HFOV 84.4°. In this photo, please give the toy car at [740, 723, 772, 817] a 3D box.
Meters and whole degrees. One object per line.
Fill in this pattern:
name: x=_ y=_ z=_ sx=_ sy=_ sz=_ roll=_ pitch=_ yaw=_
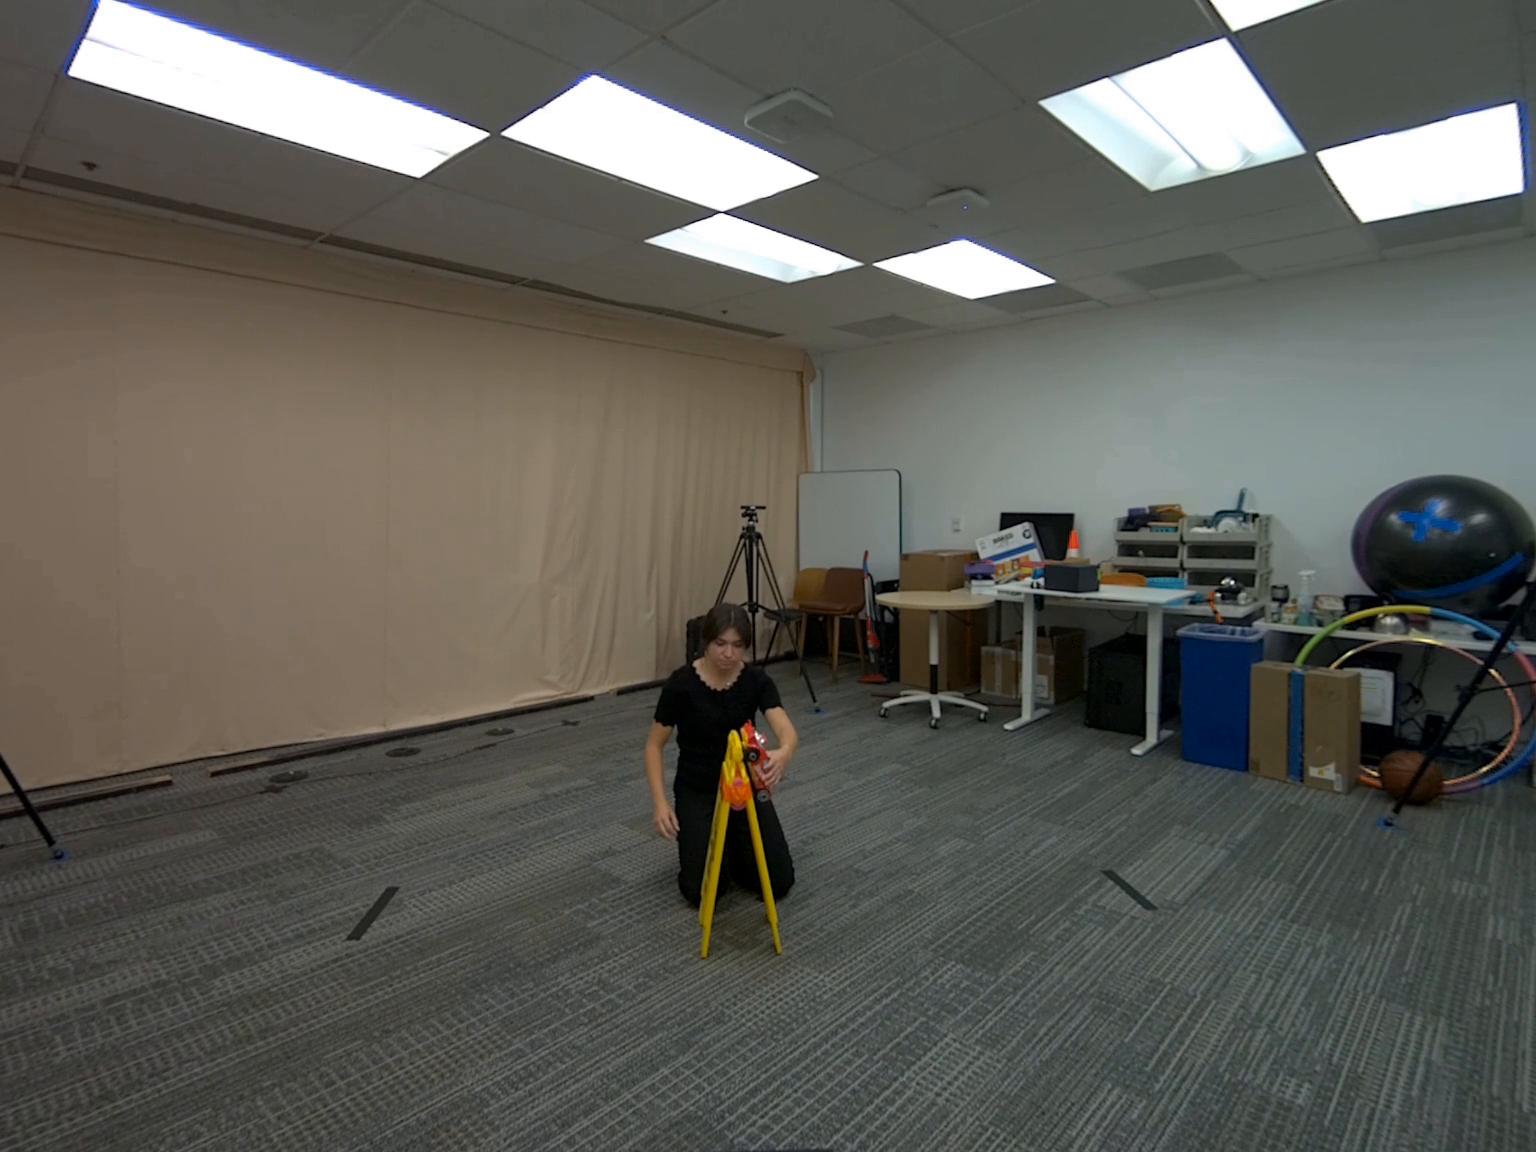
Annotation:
toy car: x=-0.045 y=0.588 z=2.679 sx=0.082 sy=0.252 sz=0.133 roll=-2 pitch=15 yaw=-12
